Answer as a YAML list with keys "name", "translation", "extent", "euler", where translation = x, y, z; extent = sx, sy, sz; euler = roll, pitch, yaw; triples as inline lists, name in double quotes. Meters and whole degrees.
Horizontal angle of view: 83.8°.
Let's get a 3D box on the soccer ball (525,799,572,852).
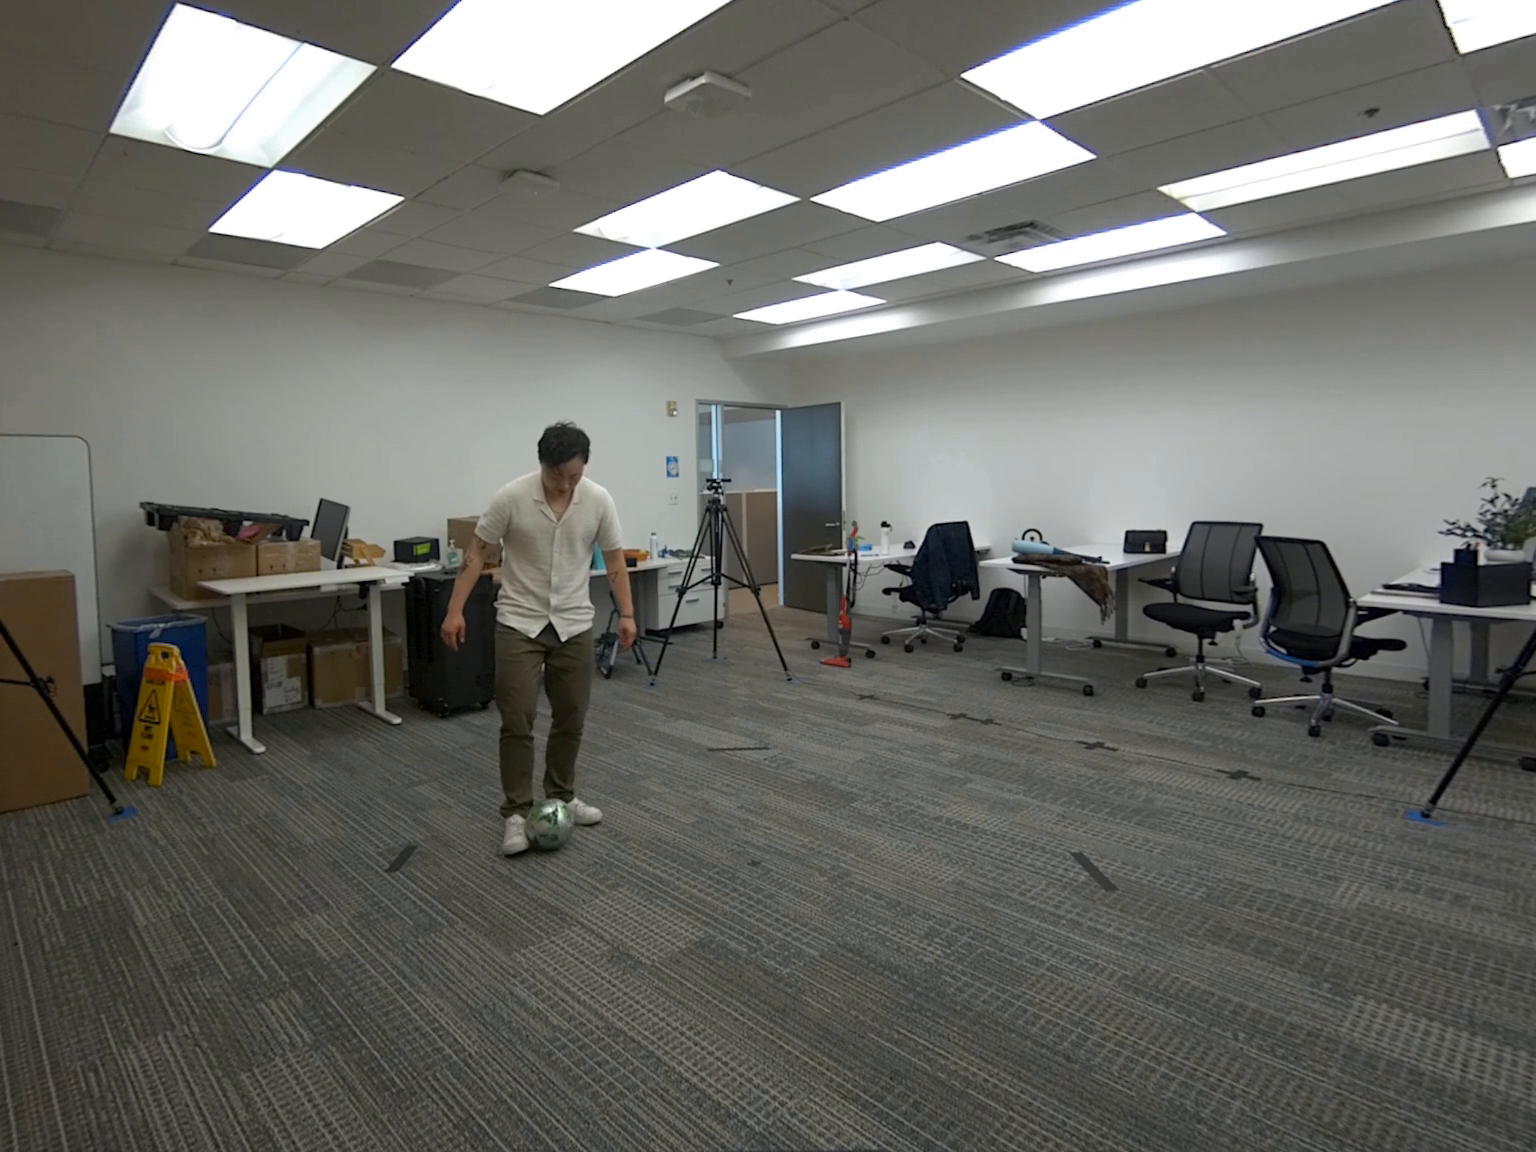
- name: "soccer ball"
  translation: [-0.834, 0.949, 3.262]
  extent: [0.187, 0.187, 0.188]
  euler: [-1, 5, -2]
